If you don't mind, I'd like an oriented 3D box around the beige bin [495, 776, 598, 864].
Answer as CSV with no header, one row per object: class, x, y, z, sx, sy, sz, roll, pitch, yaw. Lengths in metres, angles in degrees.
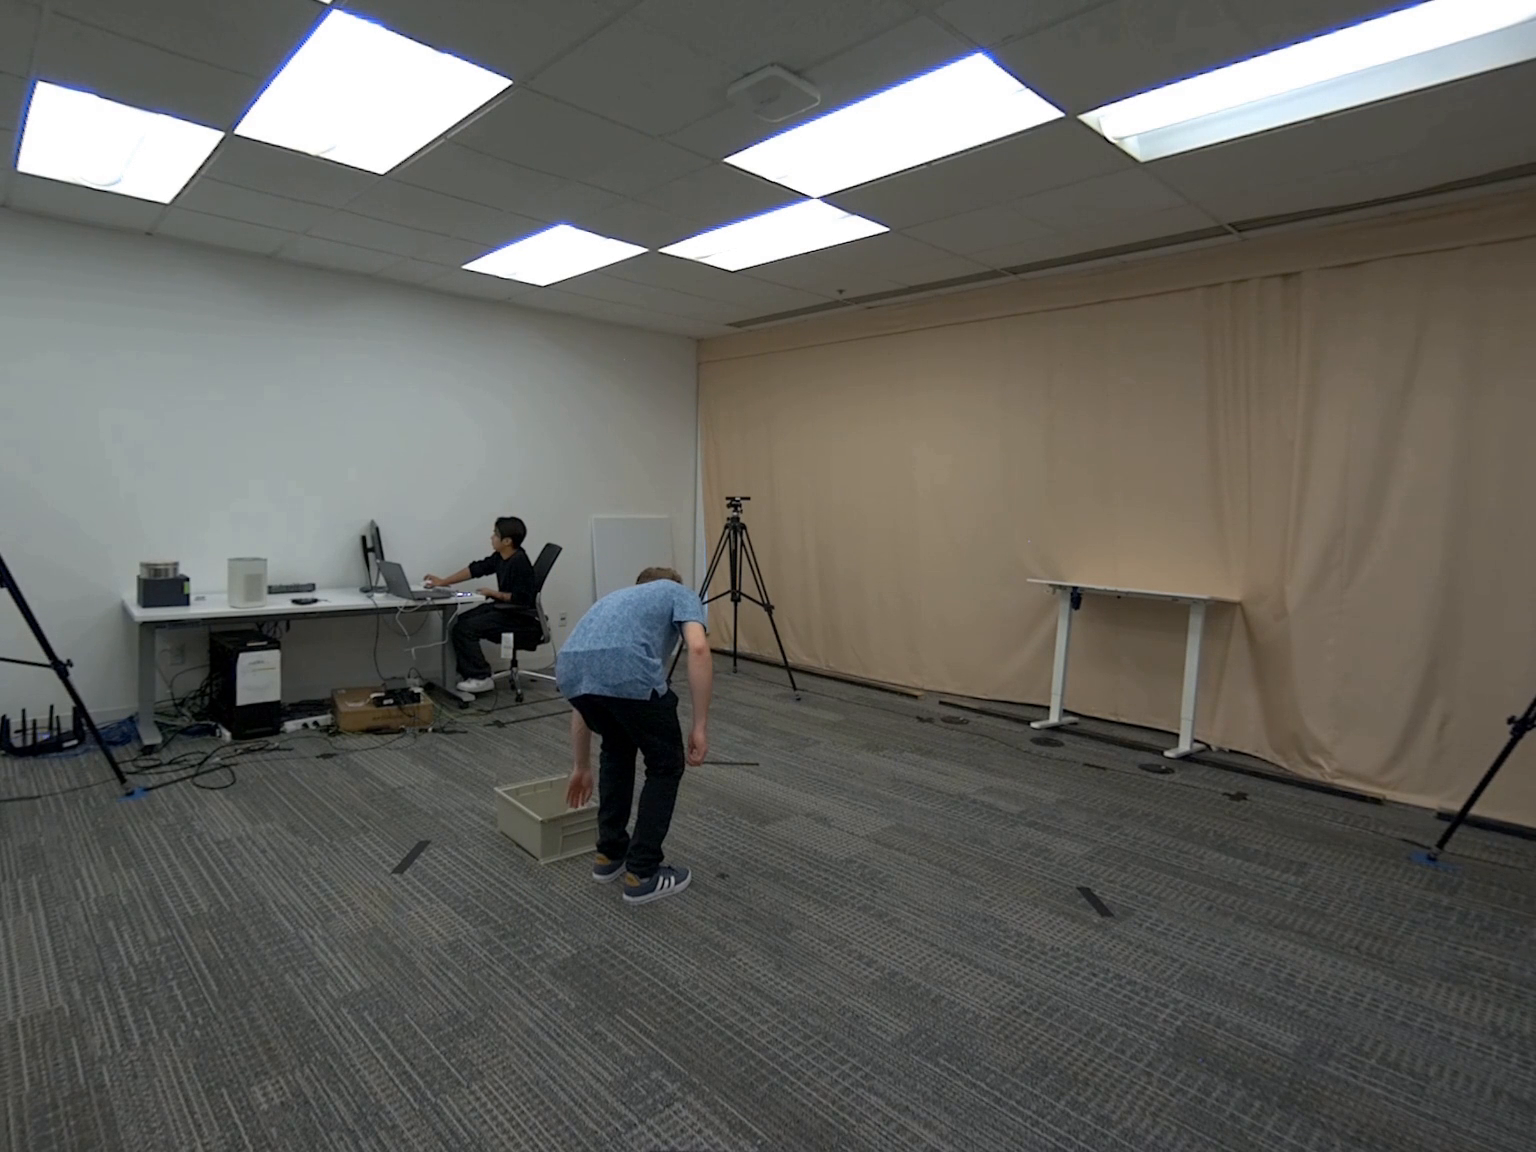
beige bin,-0.857,0.973,3.427,0.369,0.188,0.433,-4,8,-40
